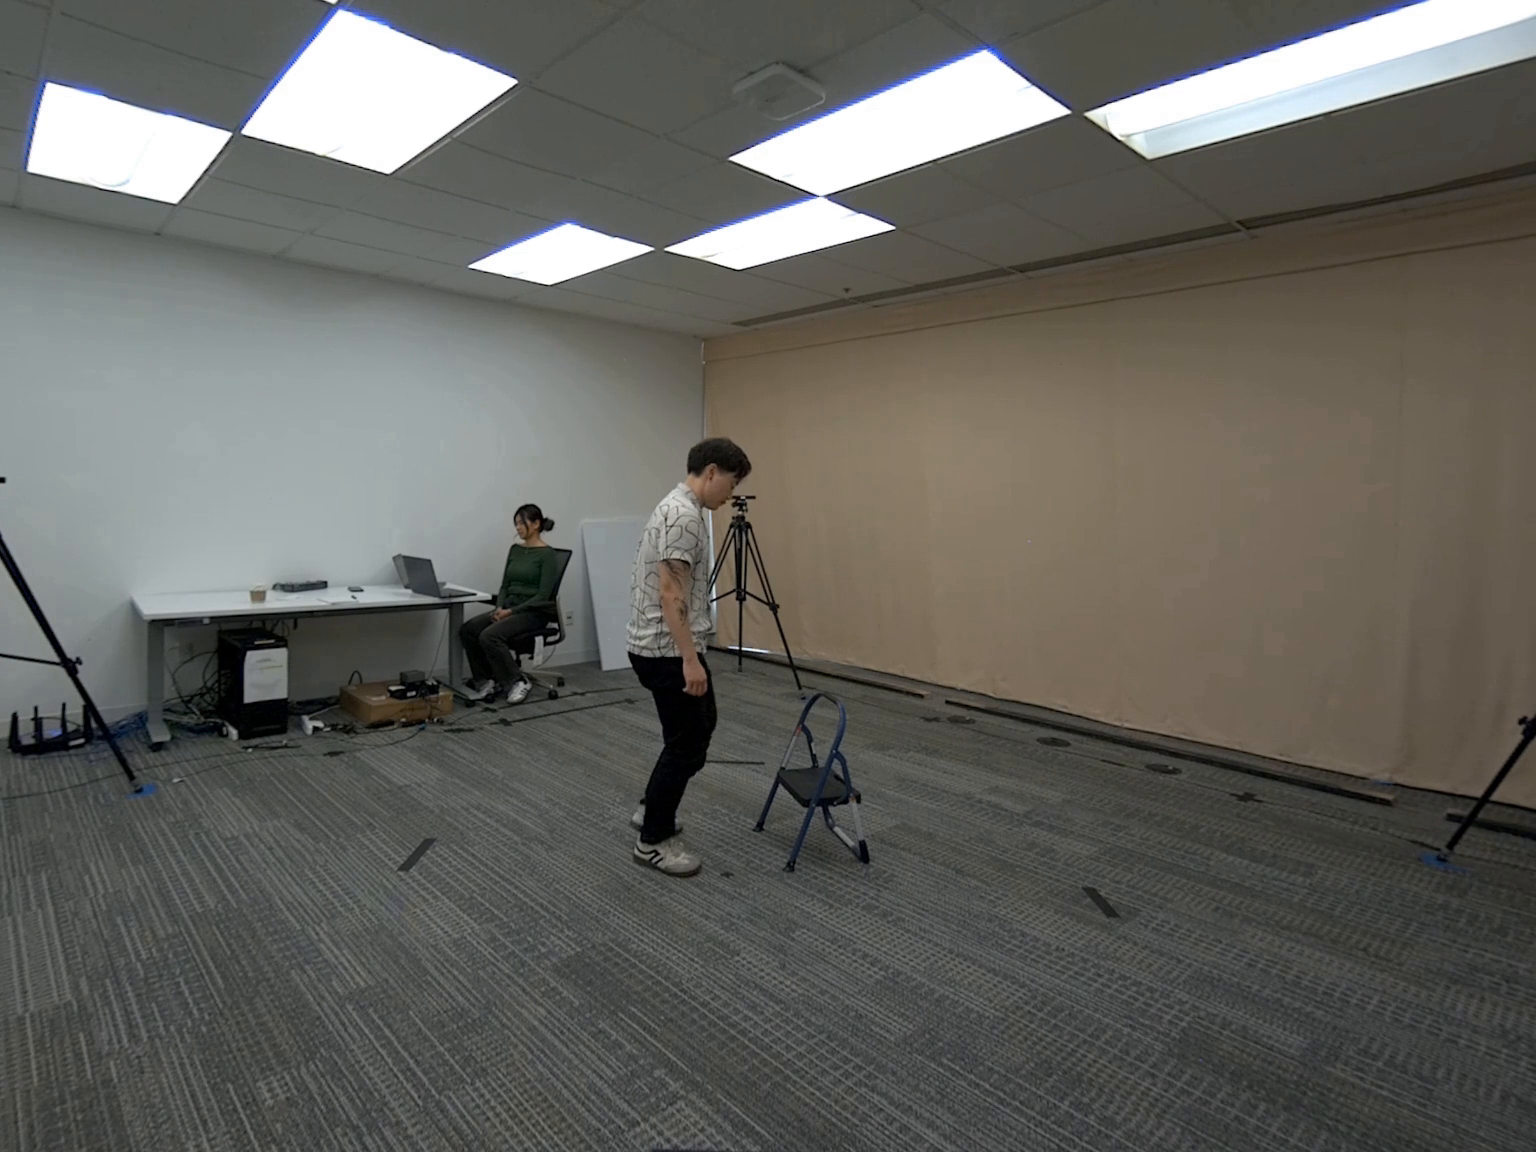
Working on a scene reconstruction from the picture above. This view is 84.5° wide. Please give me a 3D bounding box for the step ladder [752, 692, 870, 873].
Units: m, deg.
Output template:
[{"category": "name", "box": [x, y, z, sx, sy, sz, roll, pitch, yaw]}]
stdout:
[{"category": "step ladder", "box": [0.167, 0.783, 3.366, 0.345, 0.604, 0.437, 1, 4, -17]}]
